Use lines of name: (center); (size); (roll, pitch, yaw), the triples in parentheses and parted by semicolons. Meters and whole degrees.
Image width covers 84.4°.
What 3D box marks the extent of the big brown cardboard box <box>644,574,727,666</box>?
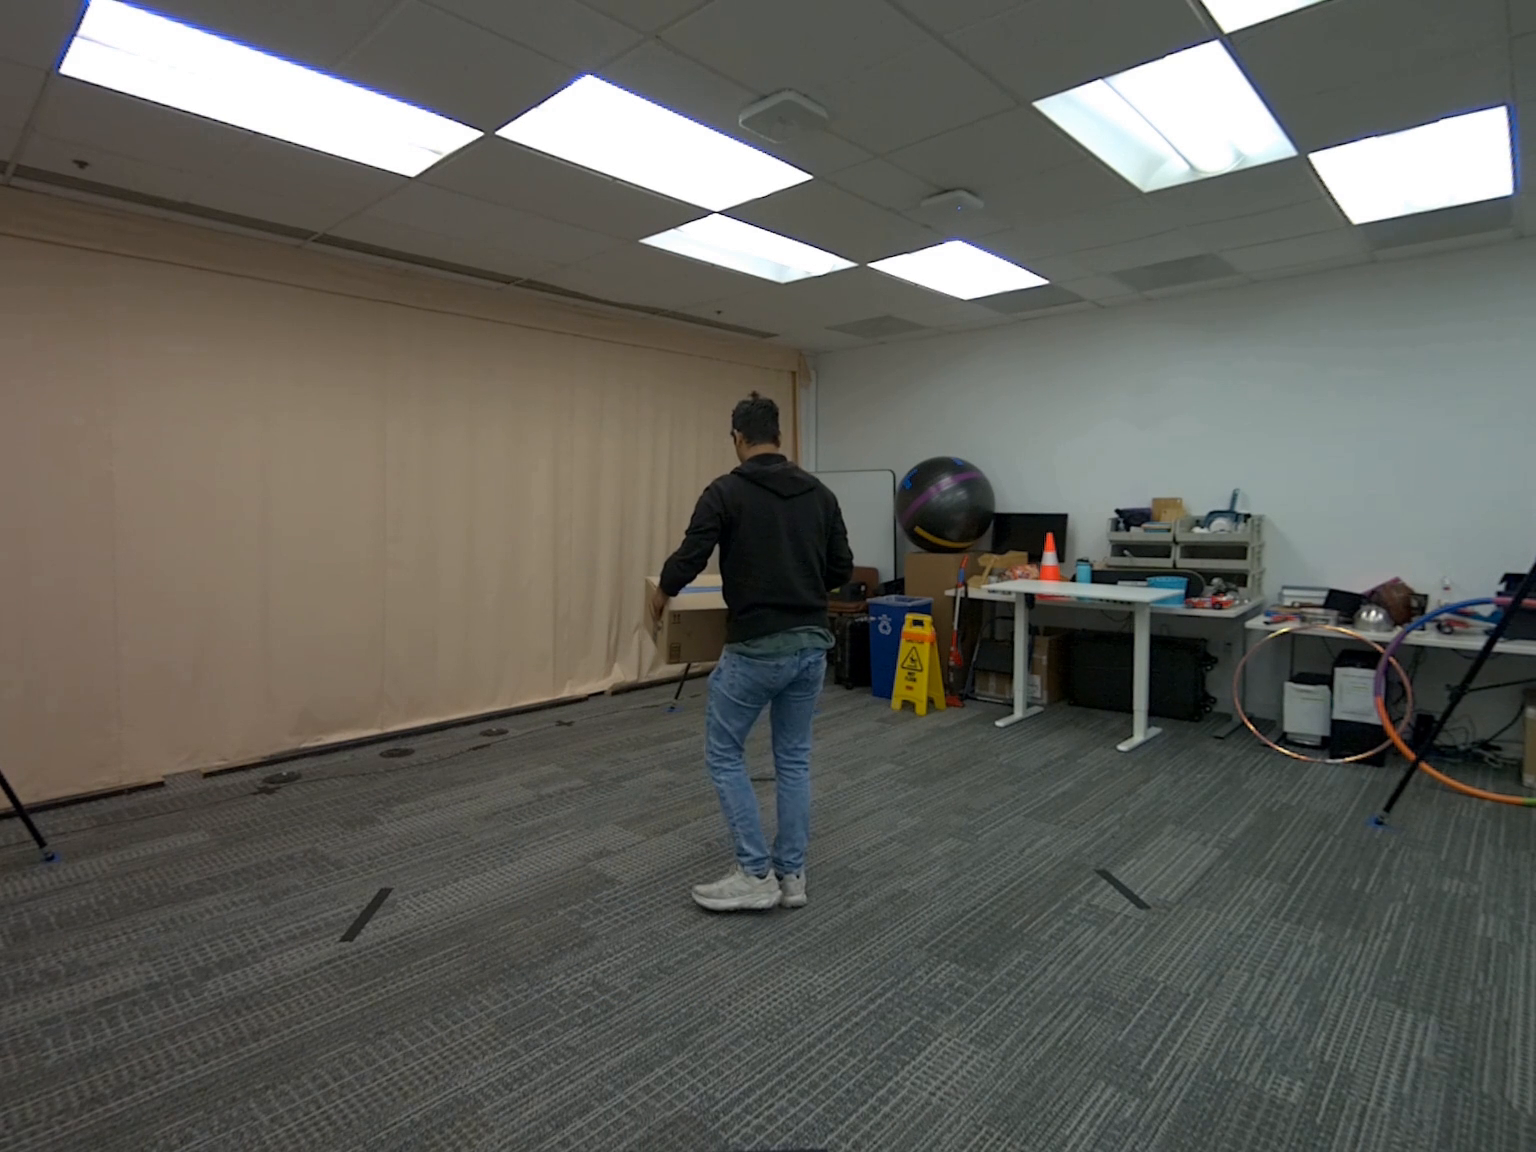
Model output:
big brown cardboard box: (-0.166, 0.163, 3.349); (0.579, 0.231, 0.428); (-3, 17, -17)
